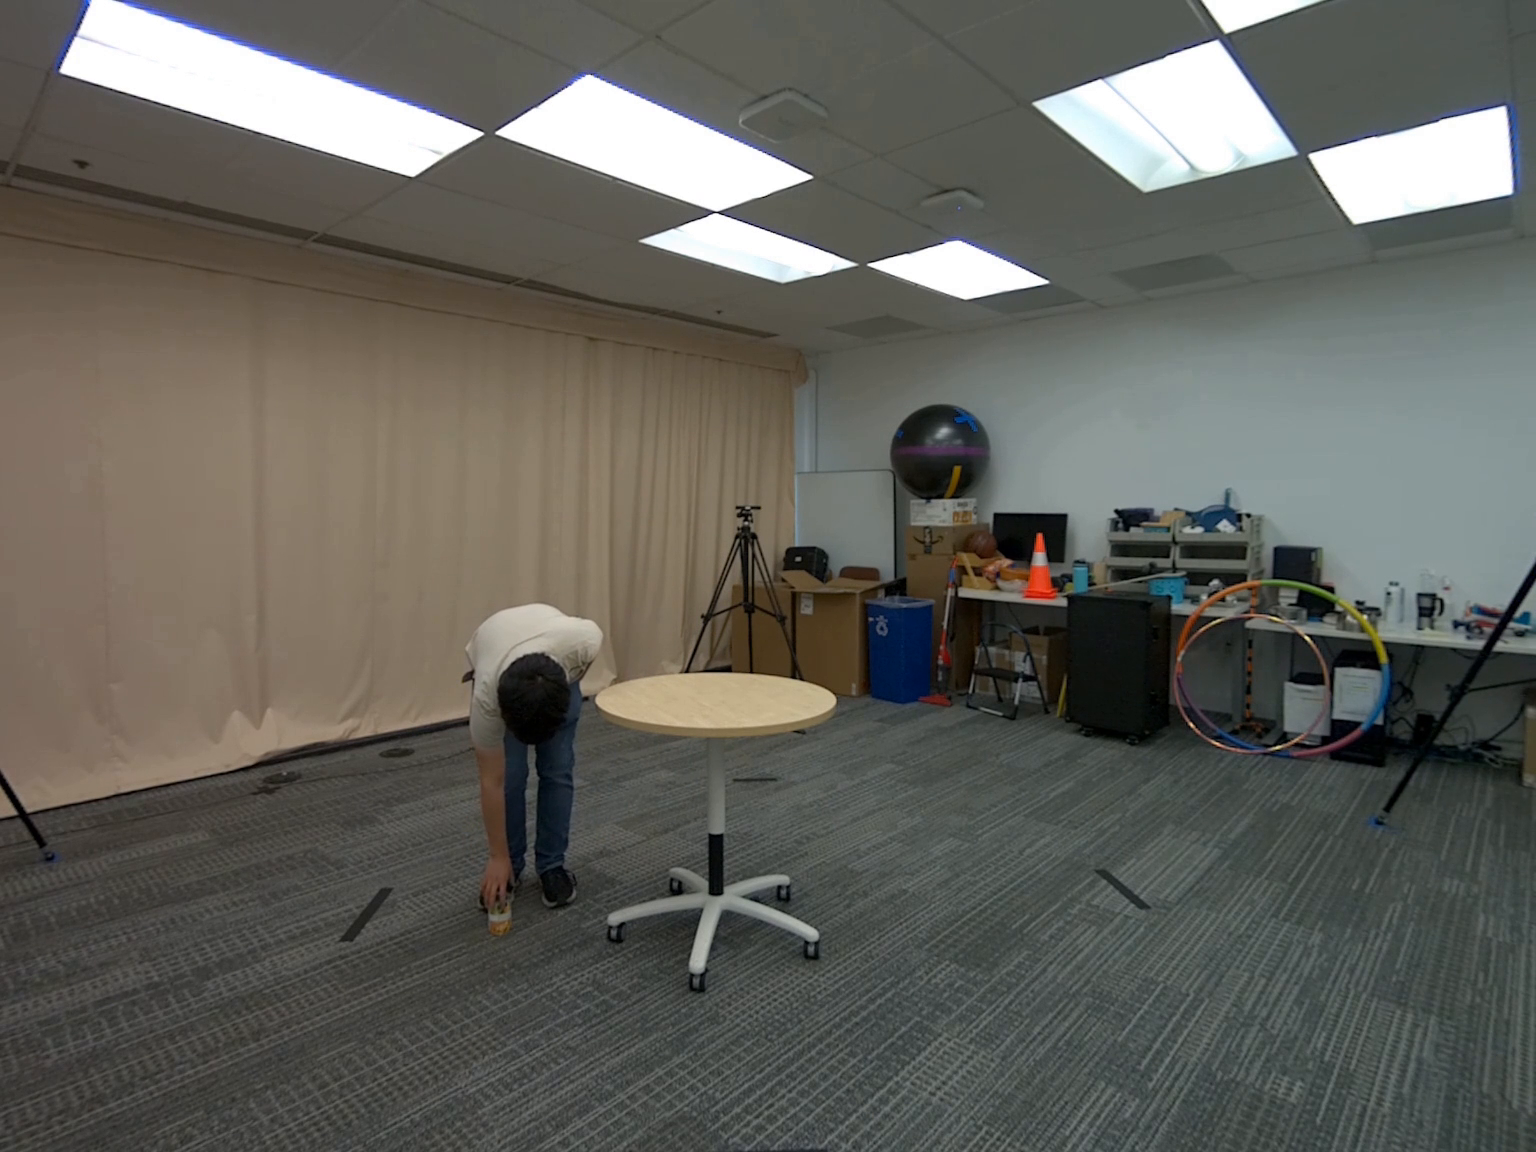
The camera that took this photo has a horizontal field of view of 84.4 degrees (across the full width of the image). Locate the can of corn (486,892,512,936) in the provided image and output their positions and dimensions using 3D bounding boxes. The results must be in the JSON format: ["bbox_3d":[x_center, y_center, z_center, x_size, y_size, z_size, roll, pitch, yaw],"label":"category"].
[{"bbox_3d":[-0.891,1.108,2.777,0.074,0.111,0.074,0,3,-2],"label":"can of corn"}]
